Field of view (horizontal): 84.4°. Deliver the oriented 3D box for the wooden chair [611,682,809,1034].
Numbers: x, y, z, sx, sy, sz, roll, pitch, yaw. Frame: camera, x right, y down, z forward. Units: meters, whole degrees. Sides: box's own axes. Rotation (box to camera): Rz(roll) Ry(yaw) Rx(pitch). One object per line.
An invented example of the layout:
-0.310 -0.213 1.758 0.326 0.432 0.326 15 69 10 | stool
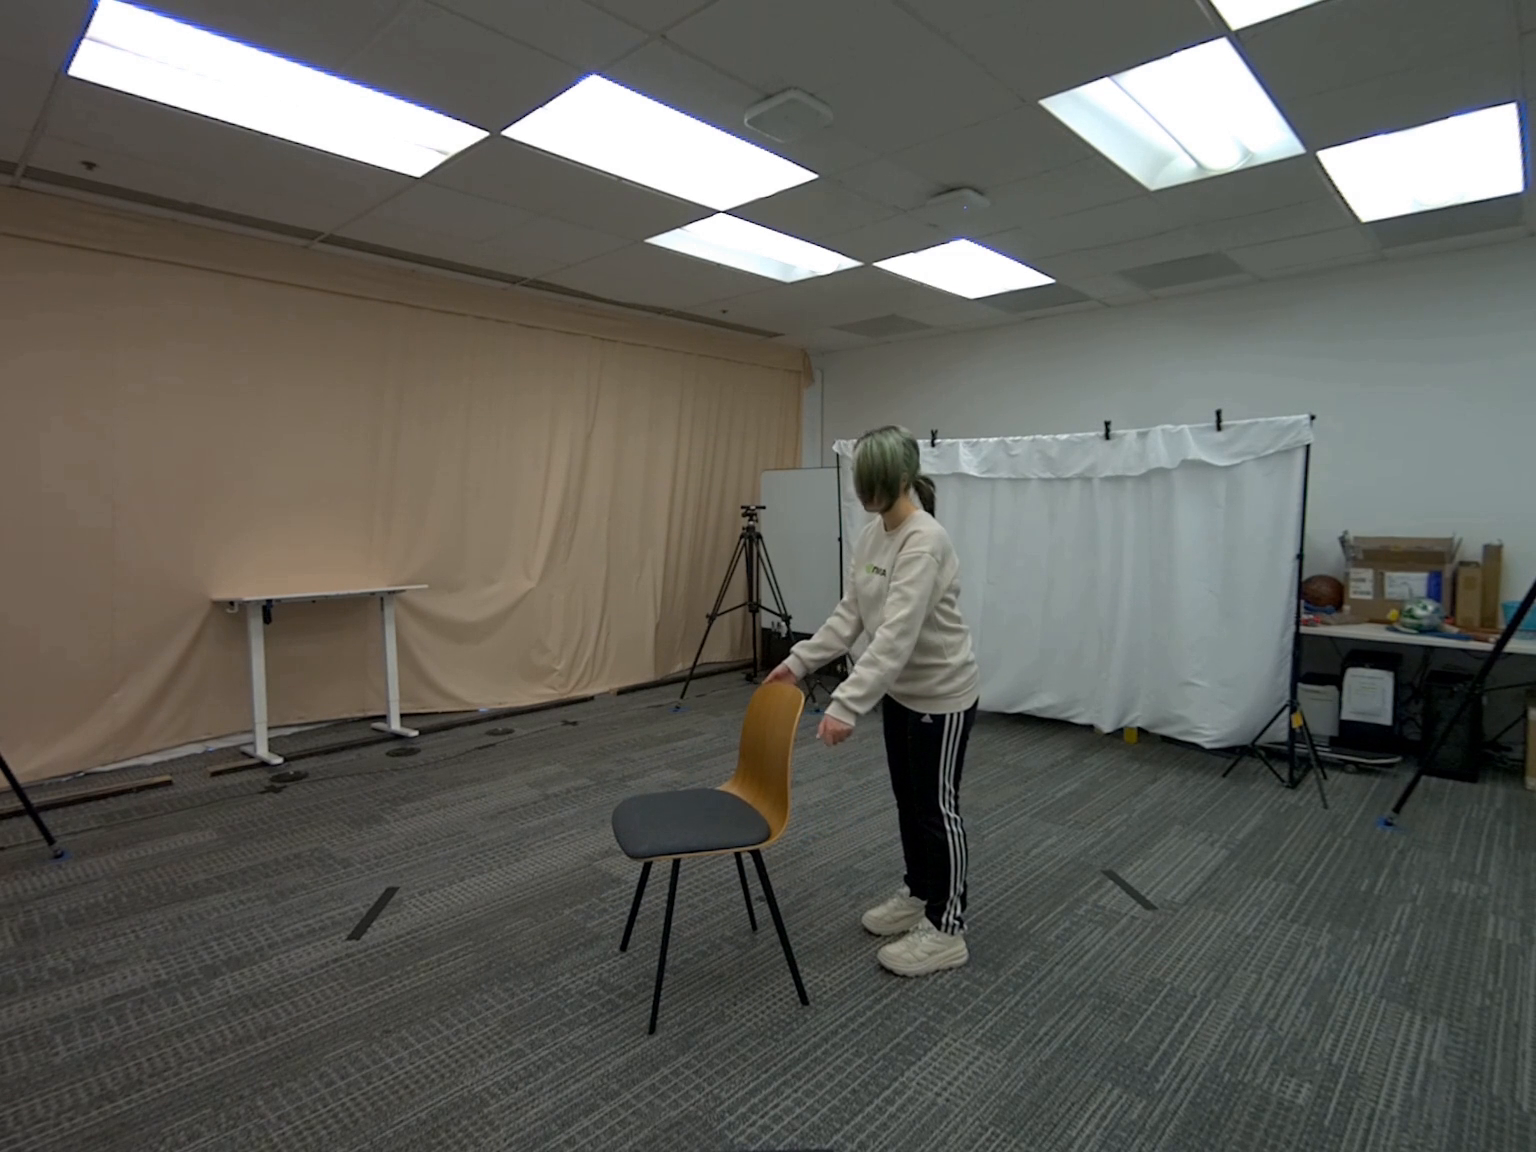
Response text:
-0.183 0.765 2.470 0.513 0.876 0.488 3 2 -19 | wooden chair
